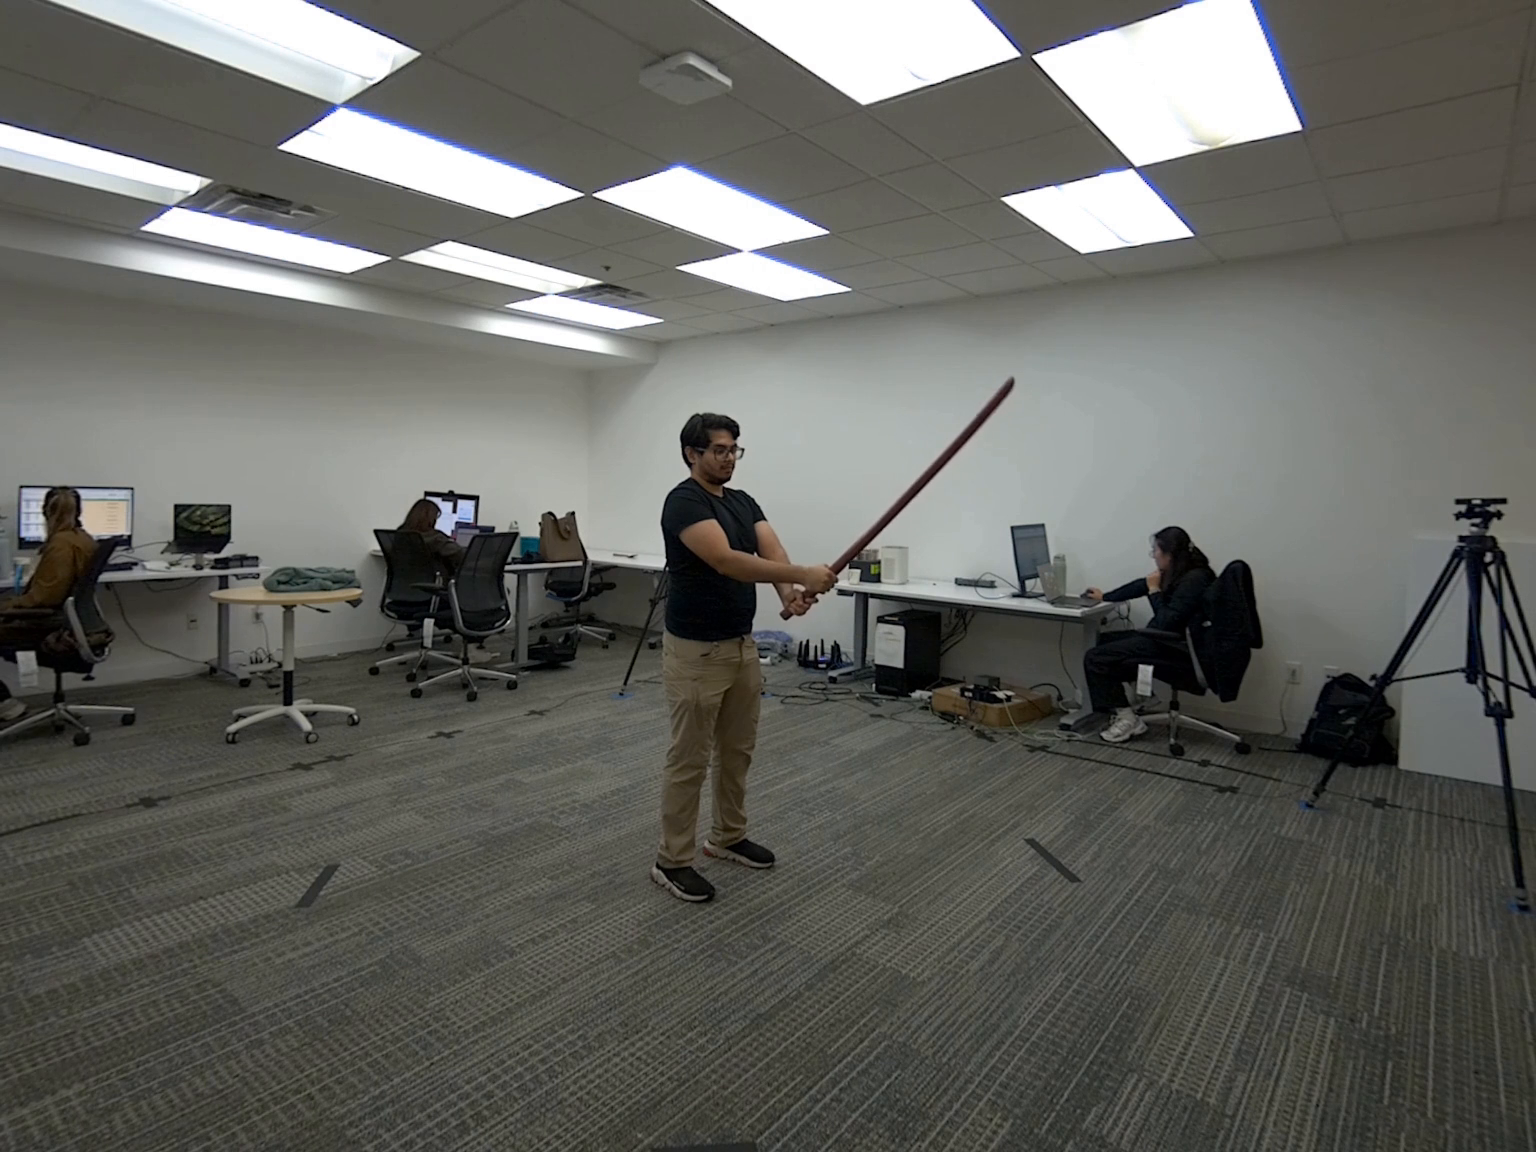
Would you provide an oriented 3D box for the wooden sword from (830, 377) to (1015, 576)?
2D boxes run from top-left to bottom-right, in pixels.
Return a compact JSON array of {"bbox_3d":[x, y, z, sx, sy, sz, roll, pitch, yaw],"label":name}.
[{"bbox_3d":[0.395,-0.225,2.655,0.023,1.025,0.053,29,19,-48],"label":"wooden sword"}]
